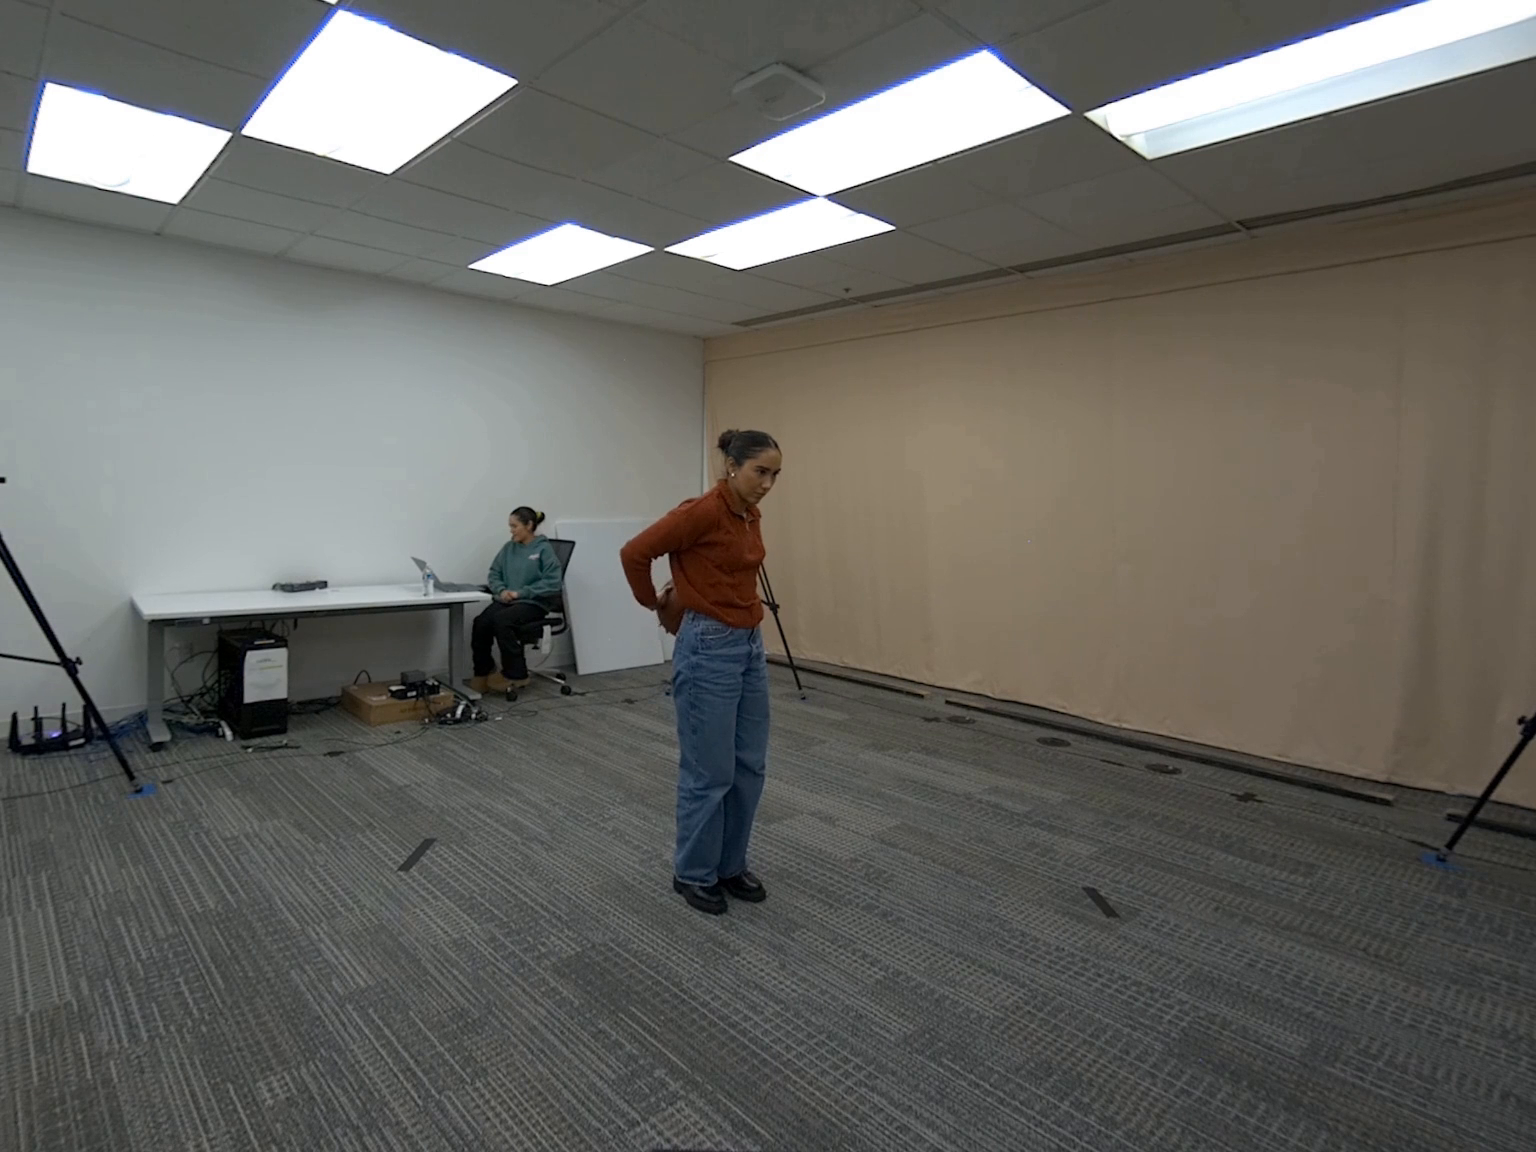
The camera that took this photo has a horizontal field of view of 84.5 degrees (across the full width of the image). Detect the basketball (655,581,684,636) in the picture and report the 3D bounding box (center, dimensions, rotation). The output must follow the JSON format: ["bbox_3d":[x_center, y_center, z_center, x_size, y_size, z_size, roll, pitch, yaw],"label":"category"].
[{"bbox_3d":[-0.295,0.111,3.068,0.236,0.235,0.237,1,4,-1],"label":"basketball"}]
